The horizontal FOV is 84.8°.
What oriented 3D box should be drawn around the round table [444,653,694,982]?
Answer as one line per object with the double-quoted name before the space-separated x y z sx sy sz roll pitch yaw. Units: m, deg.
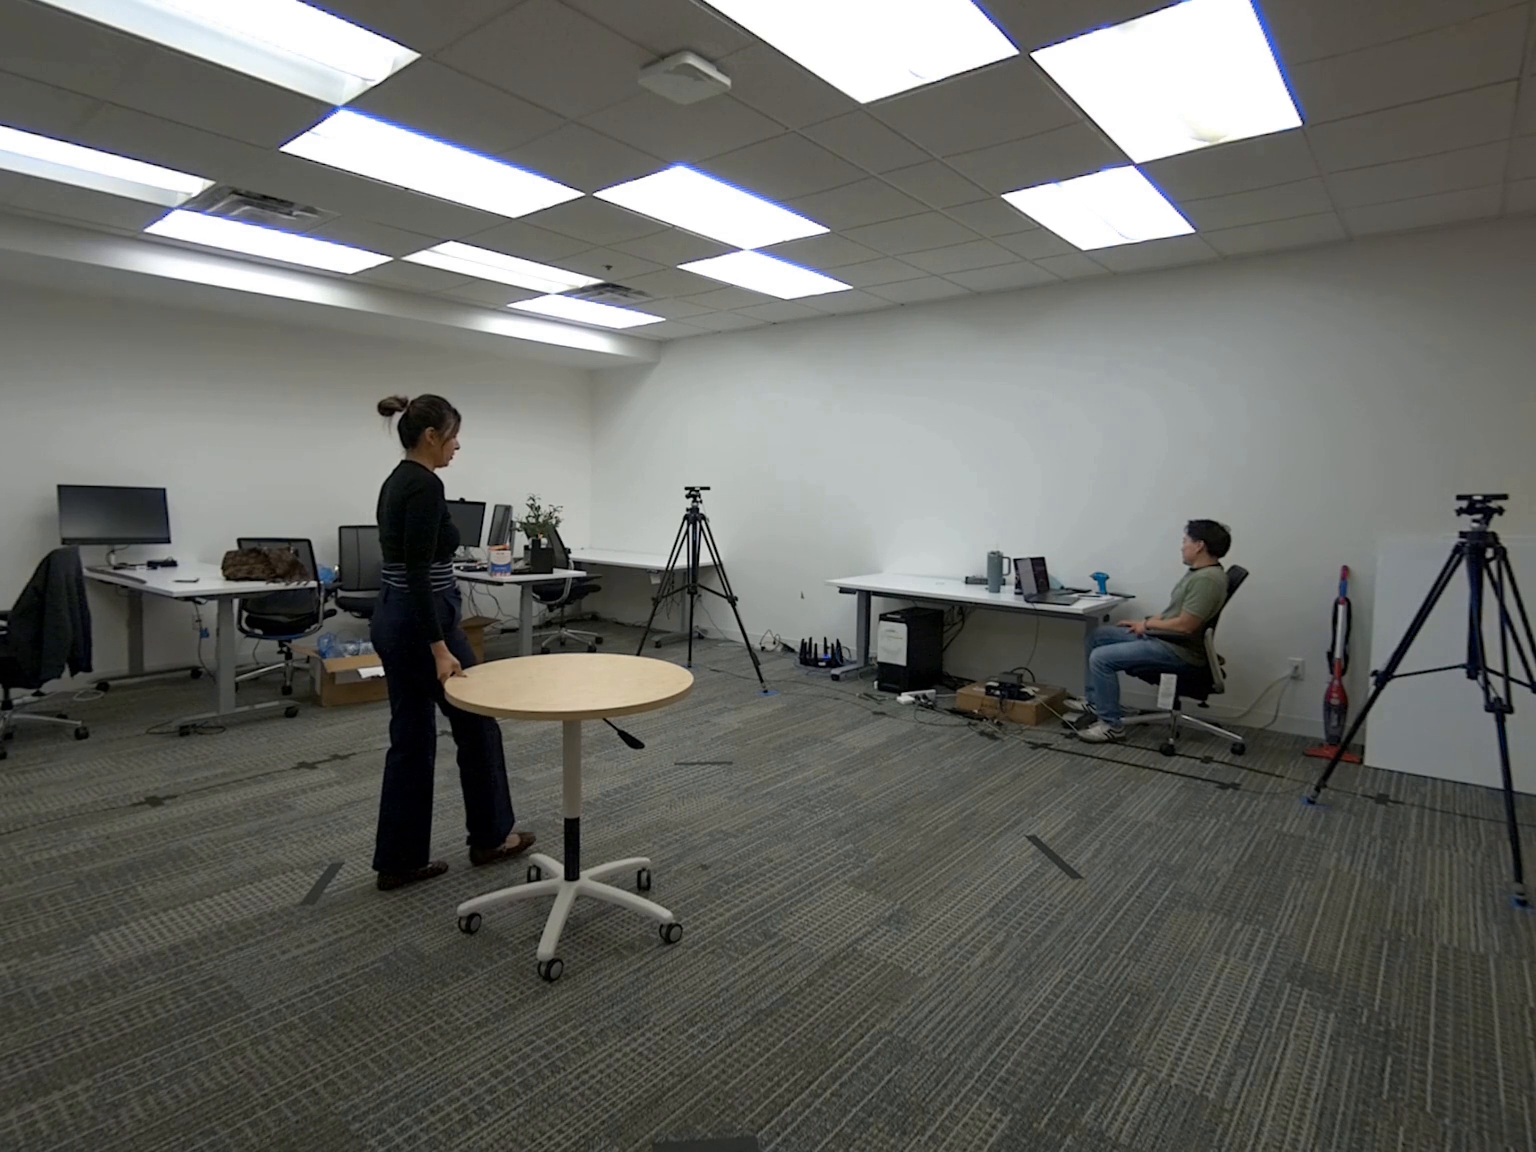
"round table" -0.626 0.714 2.686 0.763 0.791 0.768 0 5 -2
